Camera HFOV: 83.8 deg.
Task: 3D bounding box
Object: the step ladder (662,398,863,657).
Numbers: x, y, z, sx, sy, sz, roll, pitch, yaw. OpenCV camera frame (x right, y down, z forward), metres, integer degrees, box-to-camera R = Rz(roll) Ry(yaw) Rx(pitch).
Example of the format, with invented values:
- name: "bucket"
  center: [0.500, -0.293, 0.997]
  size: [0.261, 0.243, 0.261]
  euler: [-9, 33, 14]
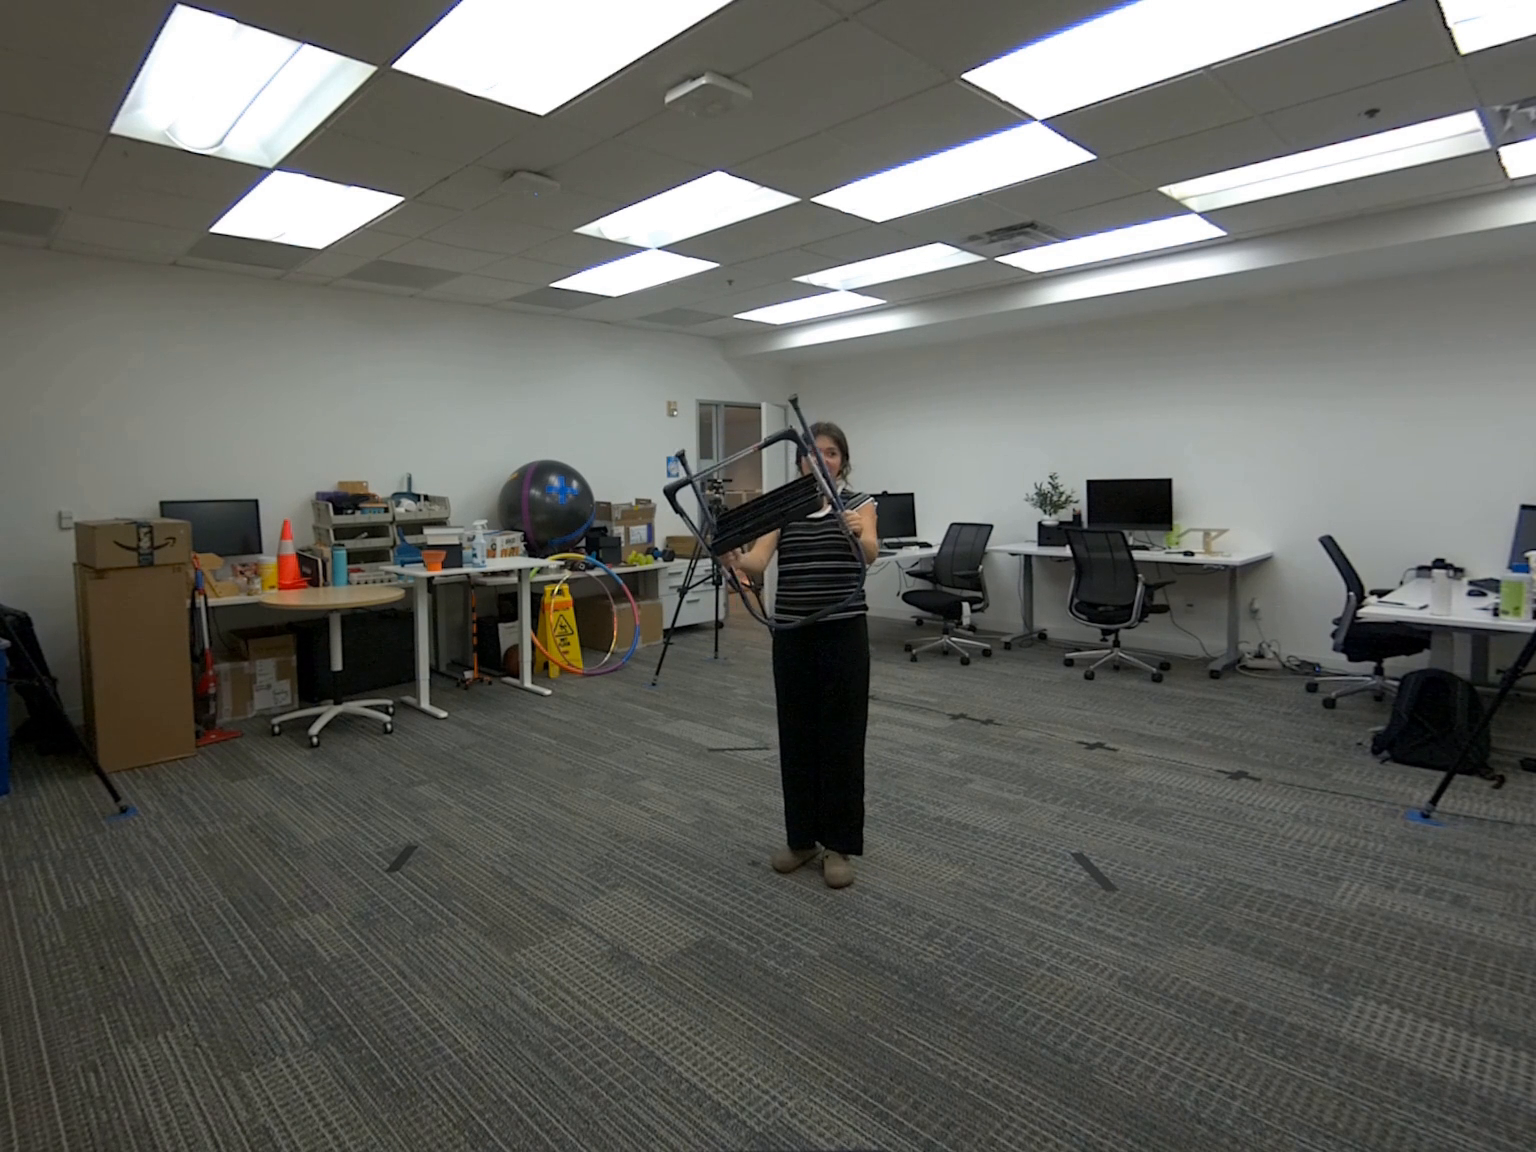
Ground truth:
- name: "step ladder"
  center: [0.027, -0.145, 2.583]
  size: [0.434, 0.593, 0.354]
  euler: [-25, 19, 16]
